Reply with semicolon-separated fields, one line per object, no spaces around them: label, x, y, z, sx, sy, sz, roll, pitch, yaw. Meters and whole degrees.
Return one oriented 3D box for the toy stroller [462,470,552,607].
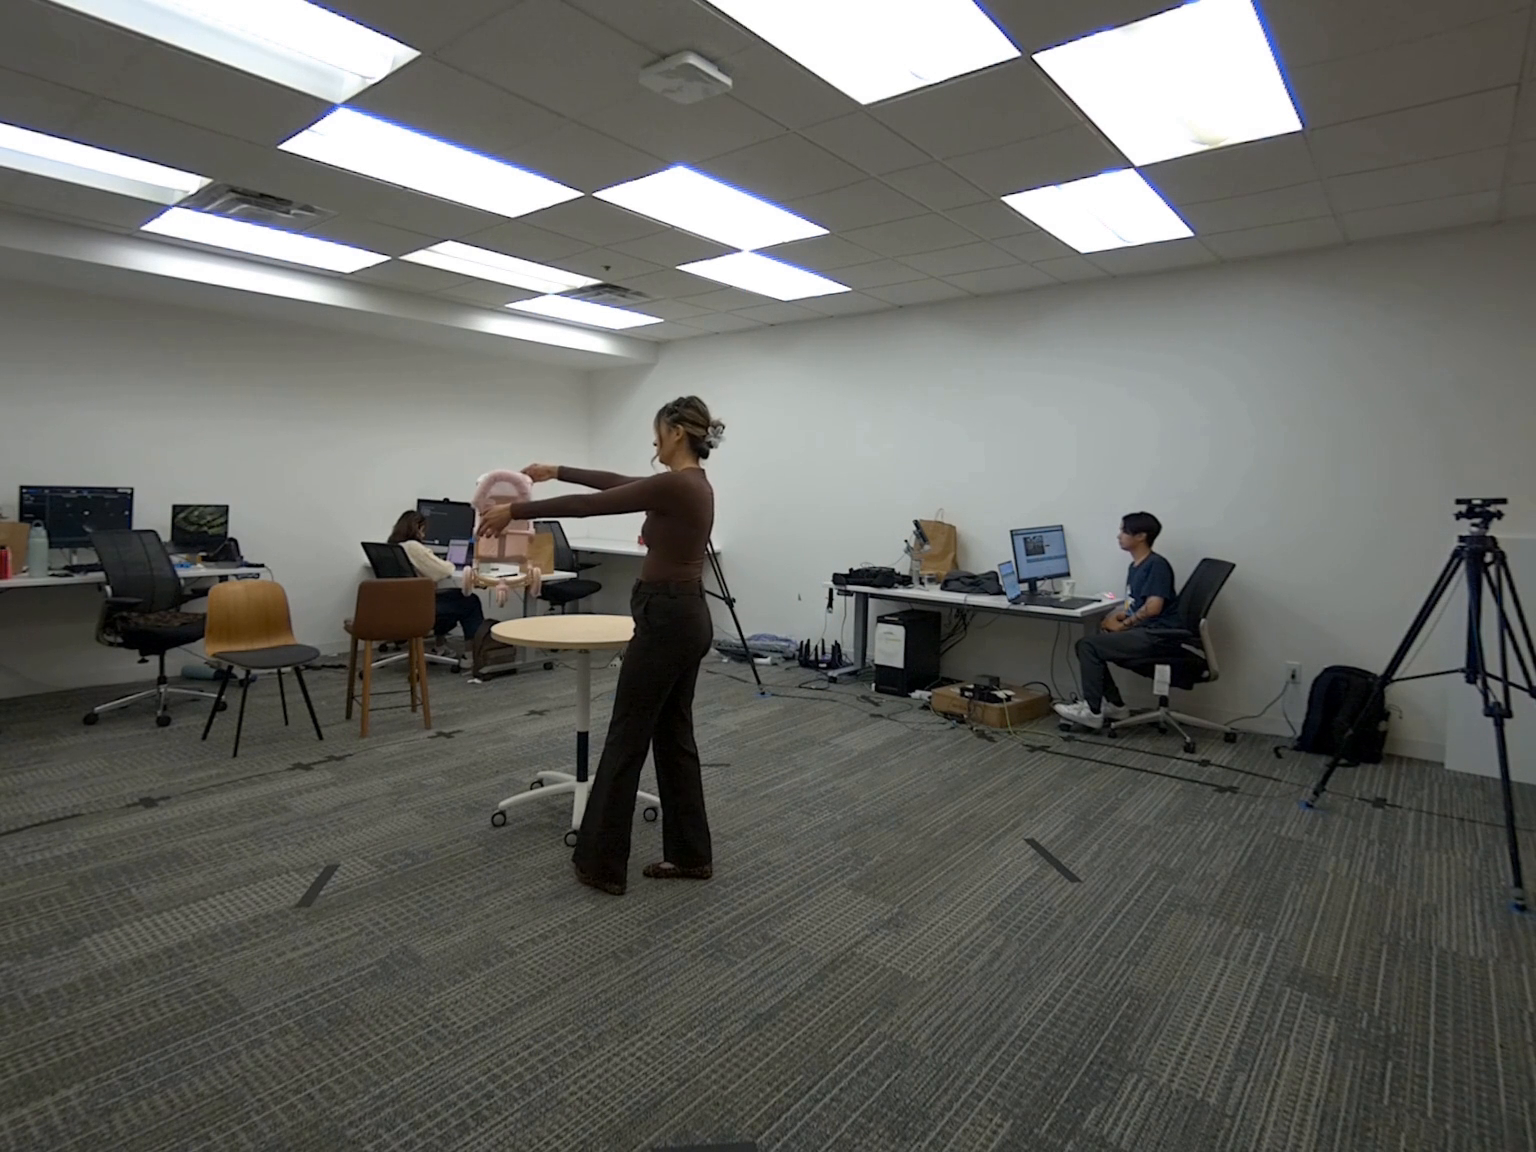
toy stroller;-0.987;-0.149;3.102;0.278;0.539;0.343;2;-8;-12
